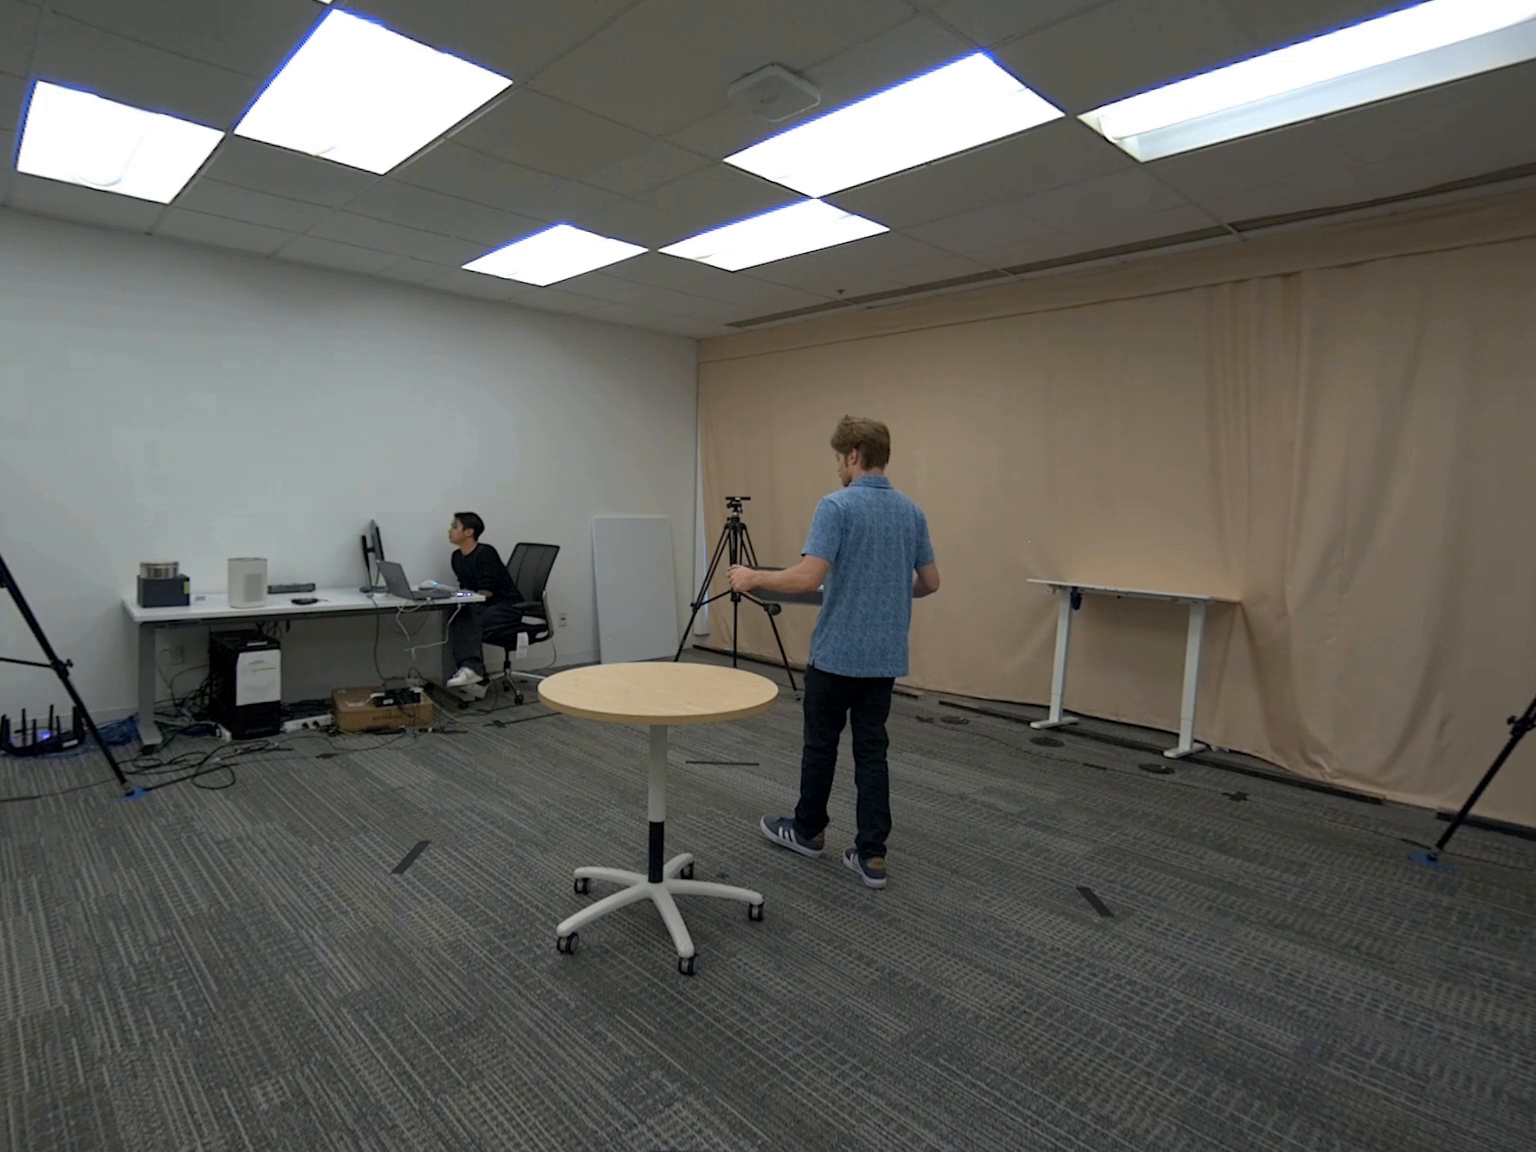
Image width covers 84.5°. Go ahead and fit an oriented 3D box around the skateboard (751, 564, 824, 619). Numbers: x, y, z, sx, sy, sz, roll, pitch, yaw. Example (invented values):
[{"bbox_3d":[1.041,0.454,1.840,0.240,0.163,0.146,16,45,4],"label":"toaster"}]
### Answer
[{"bbox_3d":[0.190,0.074,3.390,0.770,0.109,0.199,5,40,-26],"label":"skateboard"}]
